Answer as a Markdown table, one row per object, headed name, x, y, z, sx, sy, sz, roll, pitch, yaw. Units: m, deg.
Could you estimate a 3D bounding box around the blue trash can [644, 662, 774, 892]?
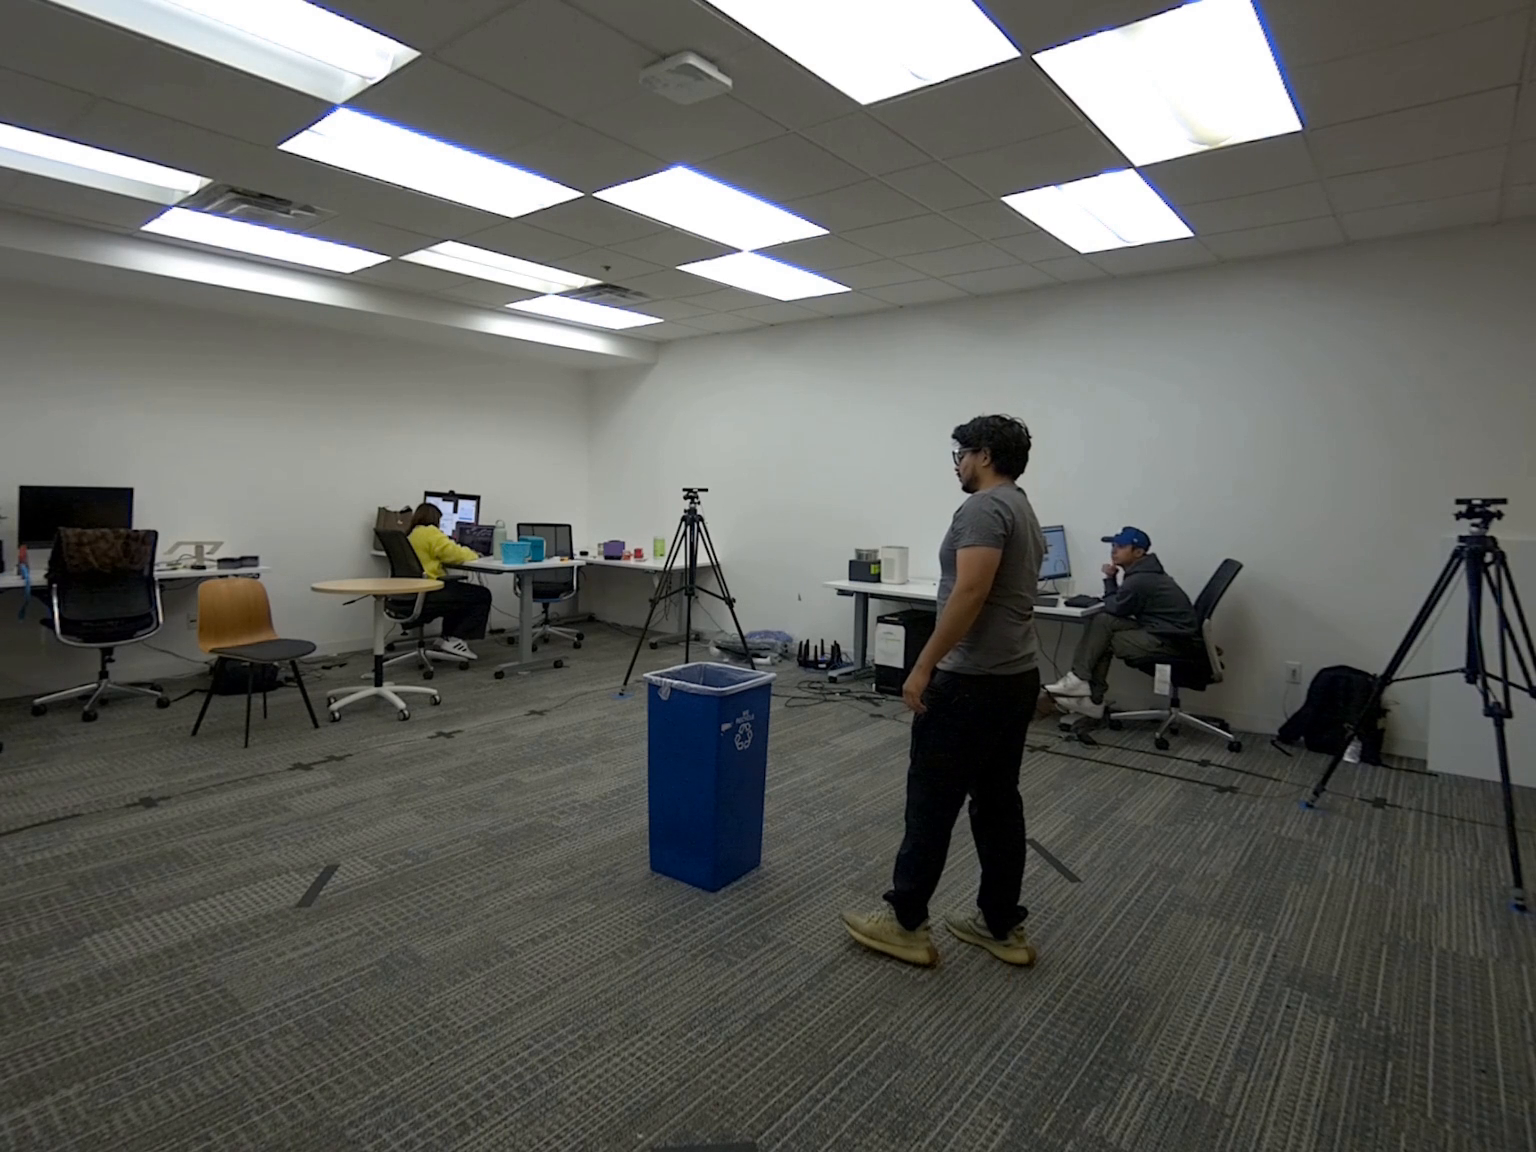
| name | x | y | z | sx | sy | sz | roll | pitch | yaw |
| --- | --- | --- | --- | --- | --- | --- | --- | --- | --- |
| blue trash can | -0.229 | 0.709 | 3.123 | 0.390 | 0.711 | 0.363 | 3 | 4 | 35 |
